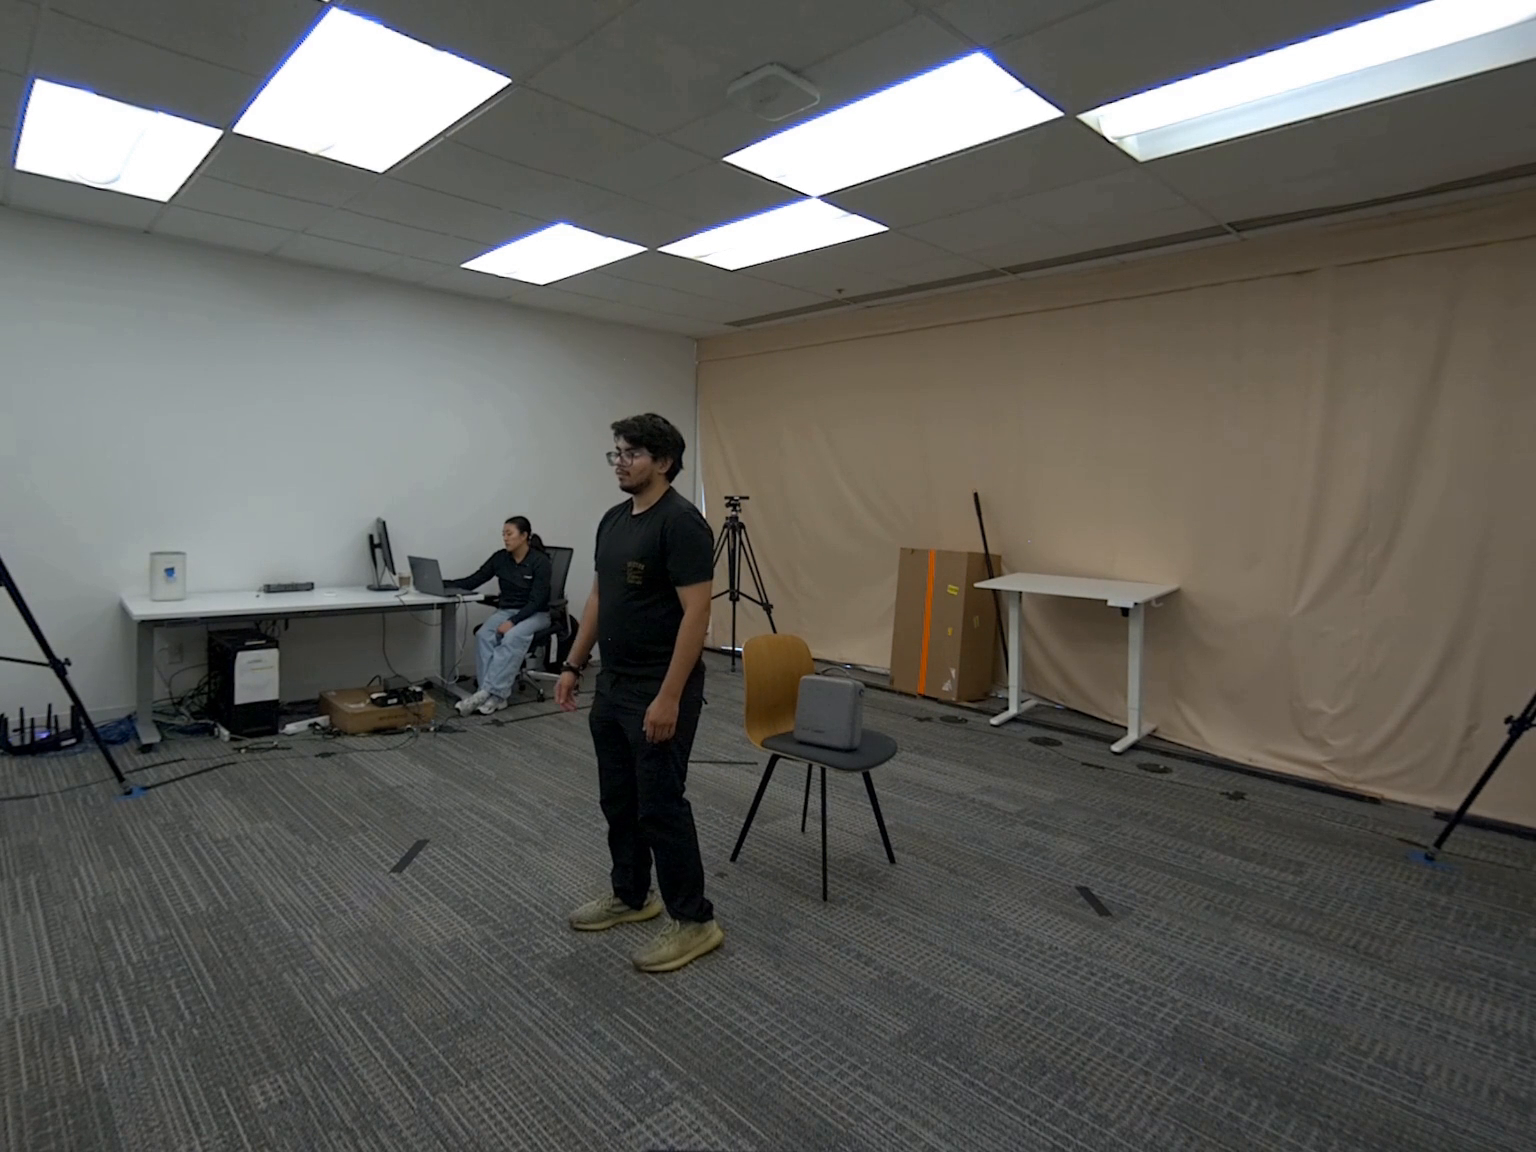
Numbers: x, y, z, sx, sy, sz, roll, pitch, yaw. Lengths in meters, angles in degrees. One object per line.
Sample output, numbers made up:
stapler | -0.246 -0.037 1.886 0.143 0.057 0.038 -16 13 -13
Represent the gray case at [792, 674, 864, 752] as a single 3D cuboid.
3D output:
gray case | 0.222 0.504 3.144 0.263 0.262 0.101 -1 -10 43
